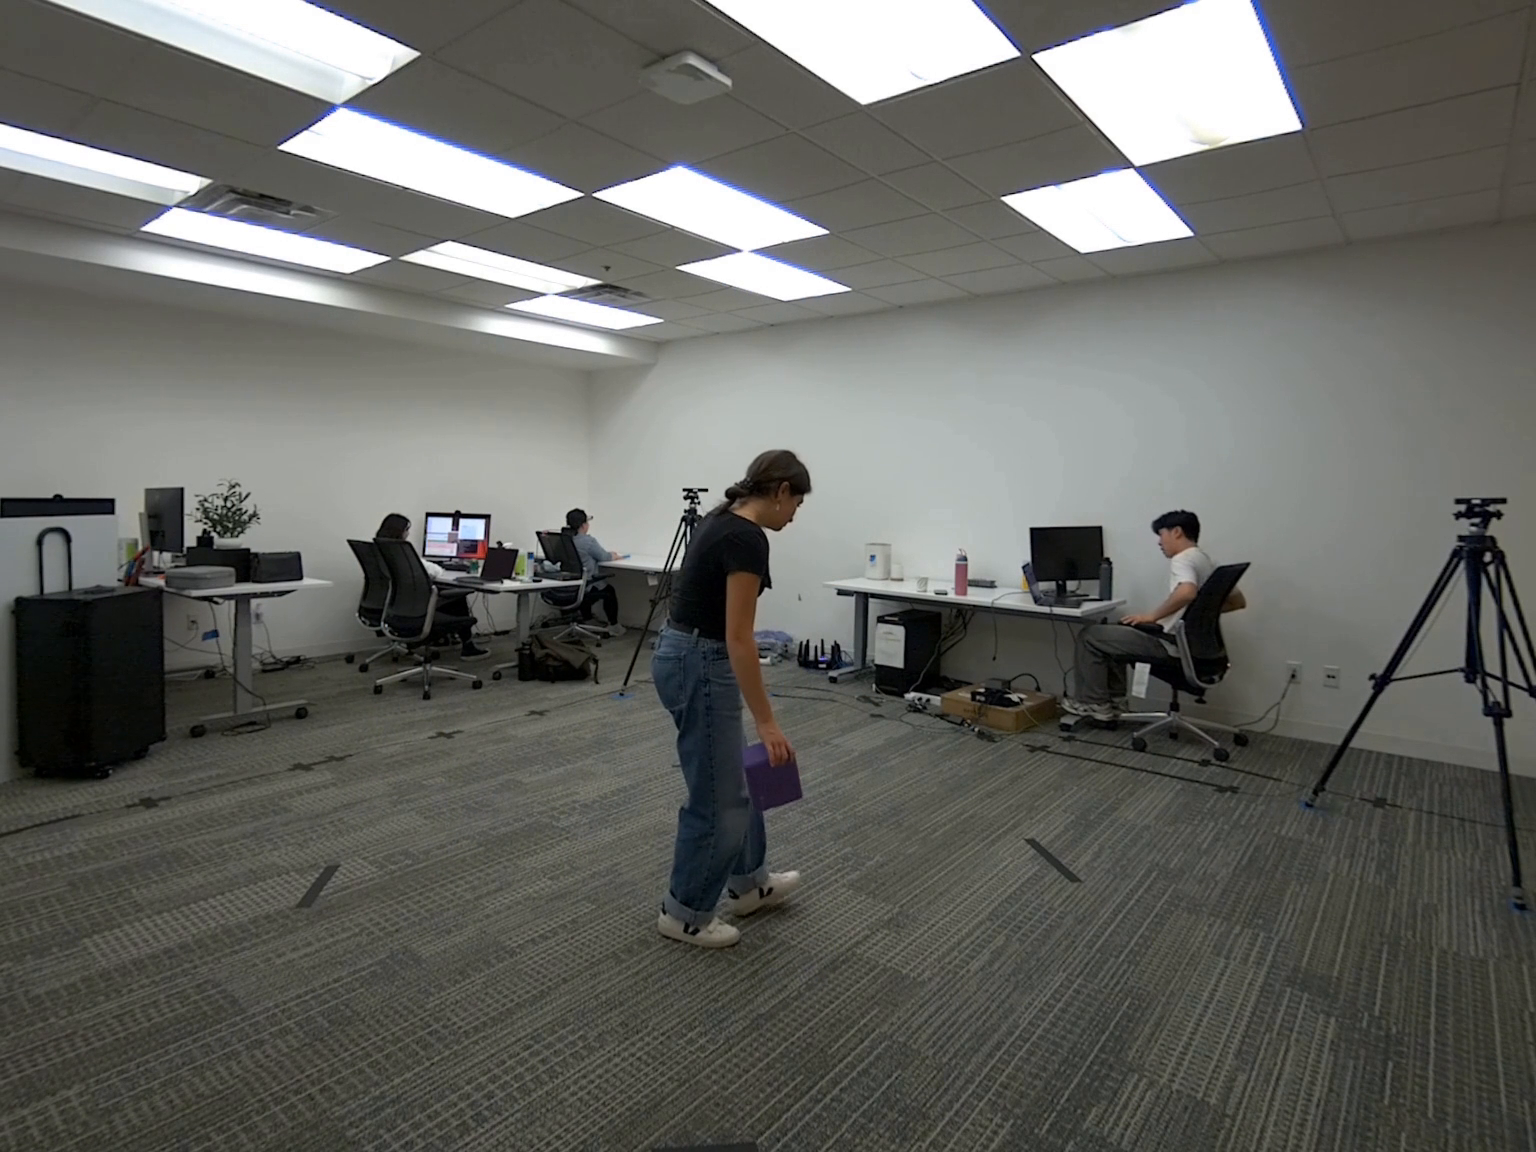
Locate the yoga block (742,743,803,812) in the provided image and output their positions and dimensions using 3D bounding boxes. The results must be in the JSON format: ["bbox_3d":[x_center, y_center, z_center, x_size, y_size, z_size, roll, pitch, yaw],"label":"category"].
[{"bbox_3d":[0.014,0.569,2.490,0.149,0.222,0.079,-12,30,1],"label":"yoga block"}]
